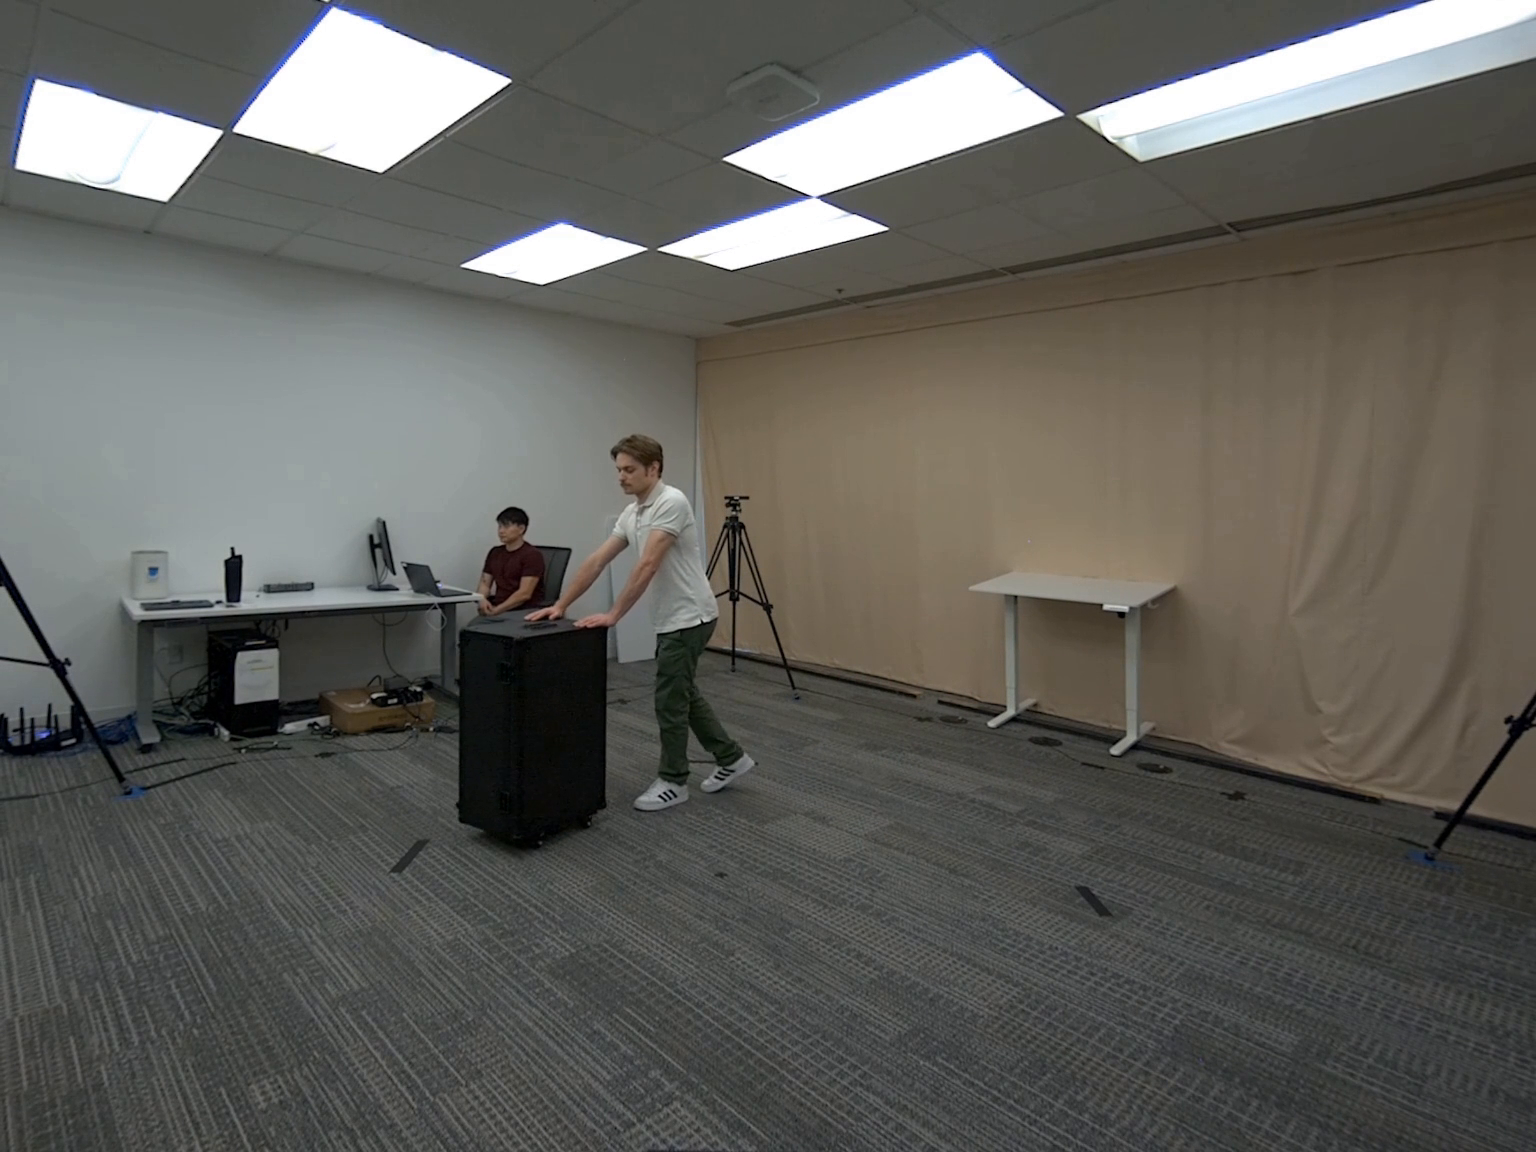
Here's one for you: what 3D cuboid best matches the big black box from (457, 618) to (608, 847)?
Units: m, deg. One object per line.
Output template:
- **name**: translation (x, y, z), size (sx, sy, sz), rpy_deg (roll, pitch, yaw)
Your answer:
- **big black box**: translation (-0.965, 0.630, 3.445), size (0.394, 0.867, 0.512), rpy_deg (3, 4, 33)
